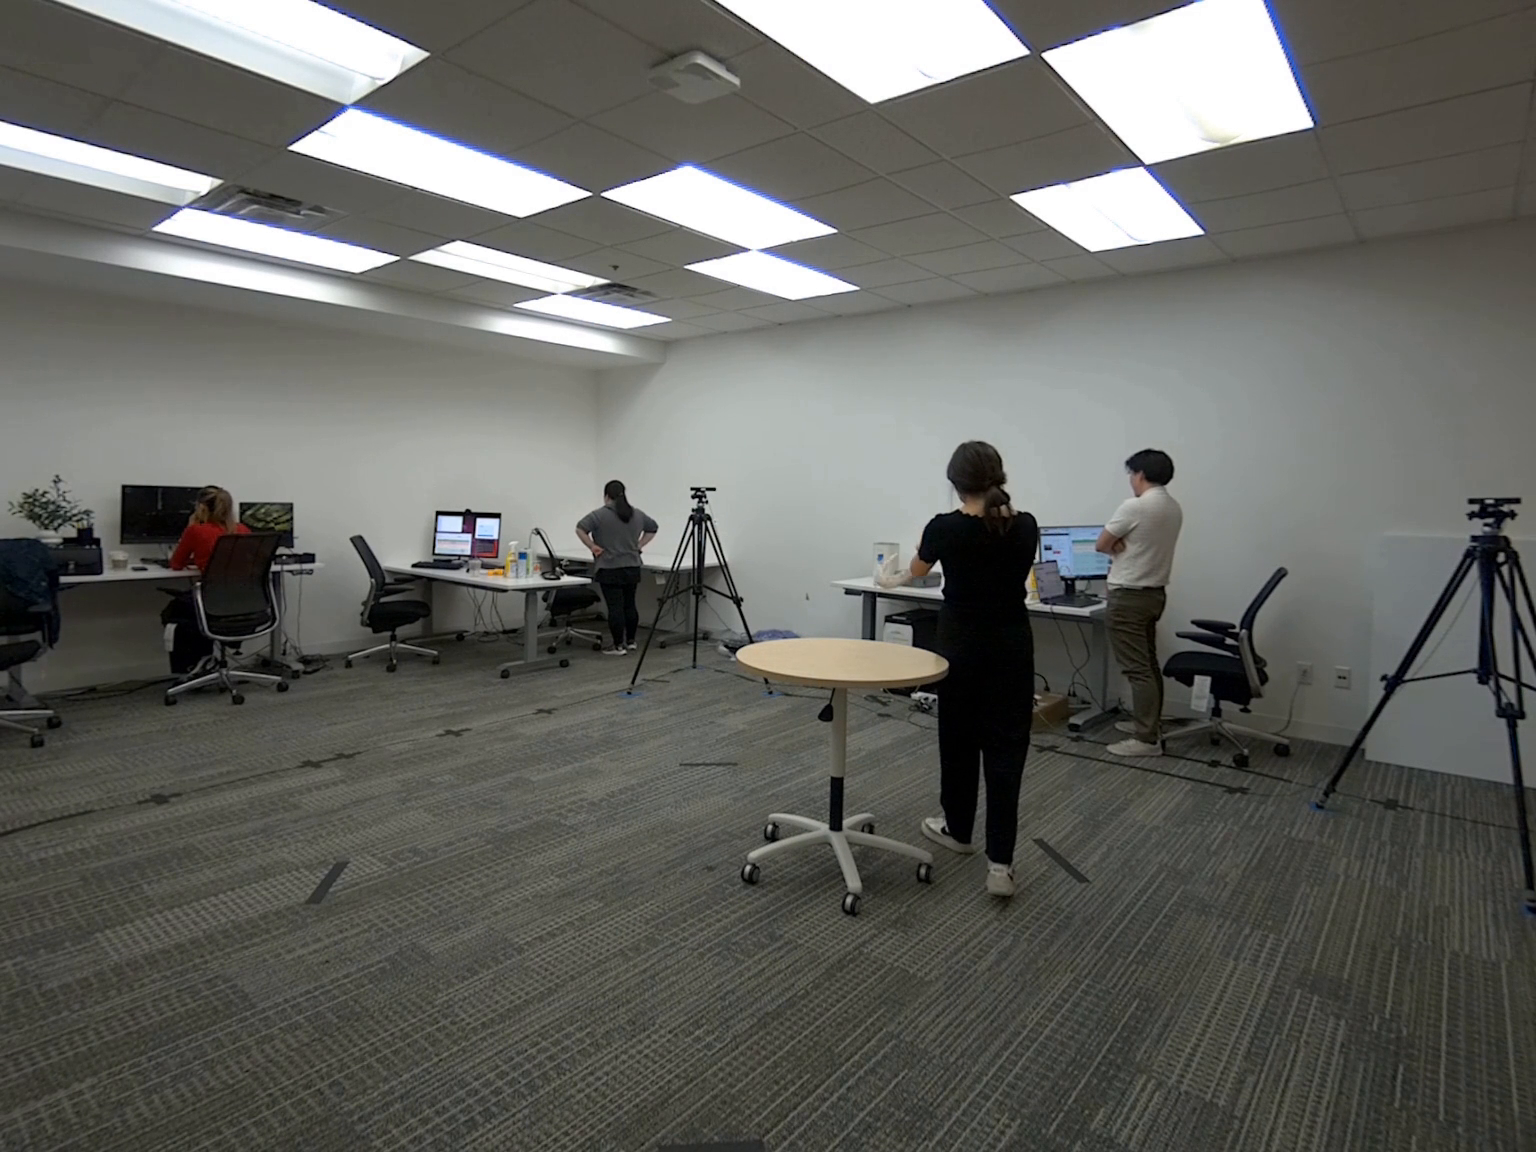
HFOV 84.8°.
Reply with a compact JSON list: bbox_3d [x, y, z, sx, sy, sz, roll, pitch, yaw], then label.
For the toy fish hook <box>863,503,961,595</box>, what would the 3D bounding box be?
[{"bbox_3d":[0.651,-0.128,3.636,0.506,0.047,0.232,-46,30,-22],"label":"toy fish hook"}]
